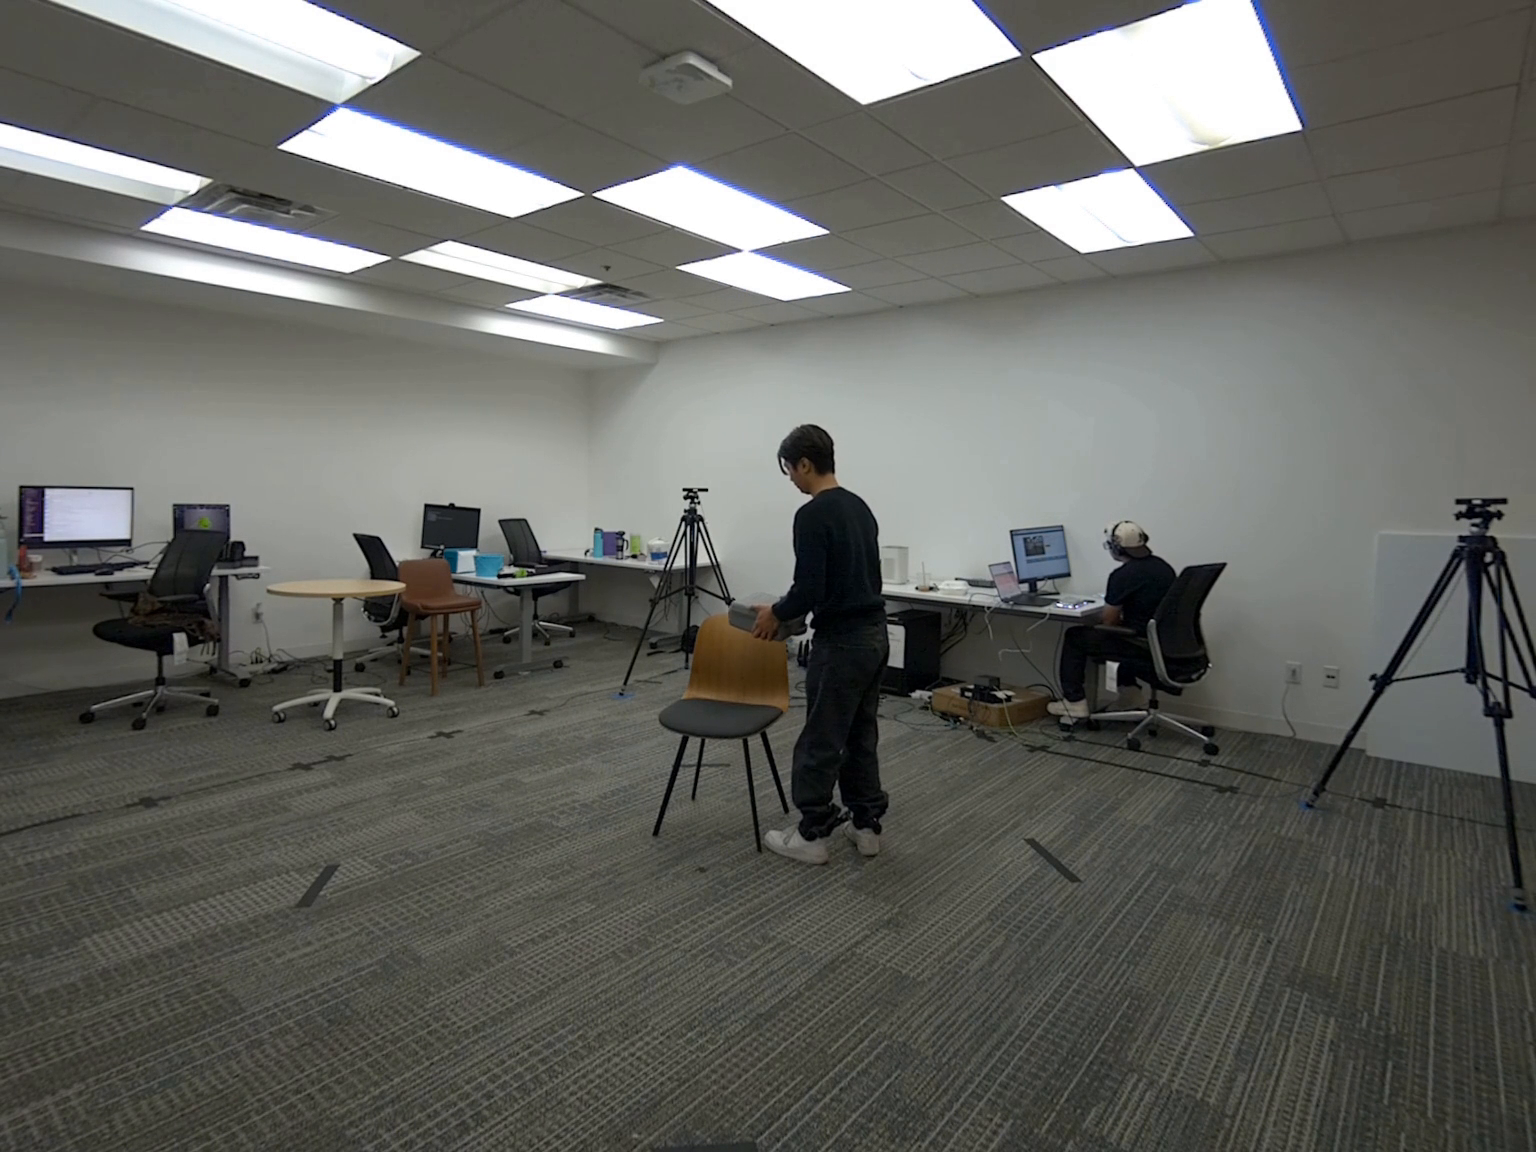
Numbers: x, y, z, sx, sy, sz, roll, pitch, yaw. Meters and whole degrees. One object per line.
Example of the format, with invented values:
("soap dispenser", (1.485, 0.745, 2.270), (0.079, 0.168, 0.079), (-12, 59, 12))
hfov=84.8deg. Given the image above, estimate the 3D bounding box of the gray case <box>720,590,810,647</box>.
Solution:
("gray case", (-0.008, 0.164, 3.393), (0.269, 0.103, 0.251), (18, 16, 26))
